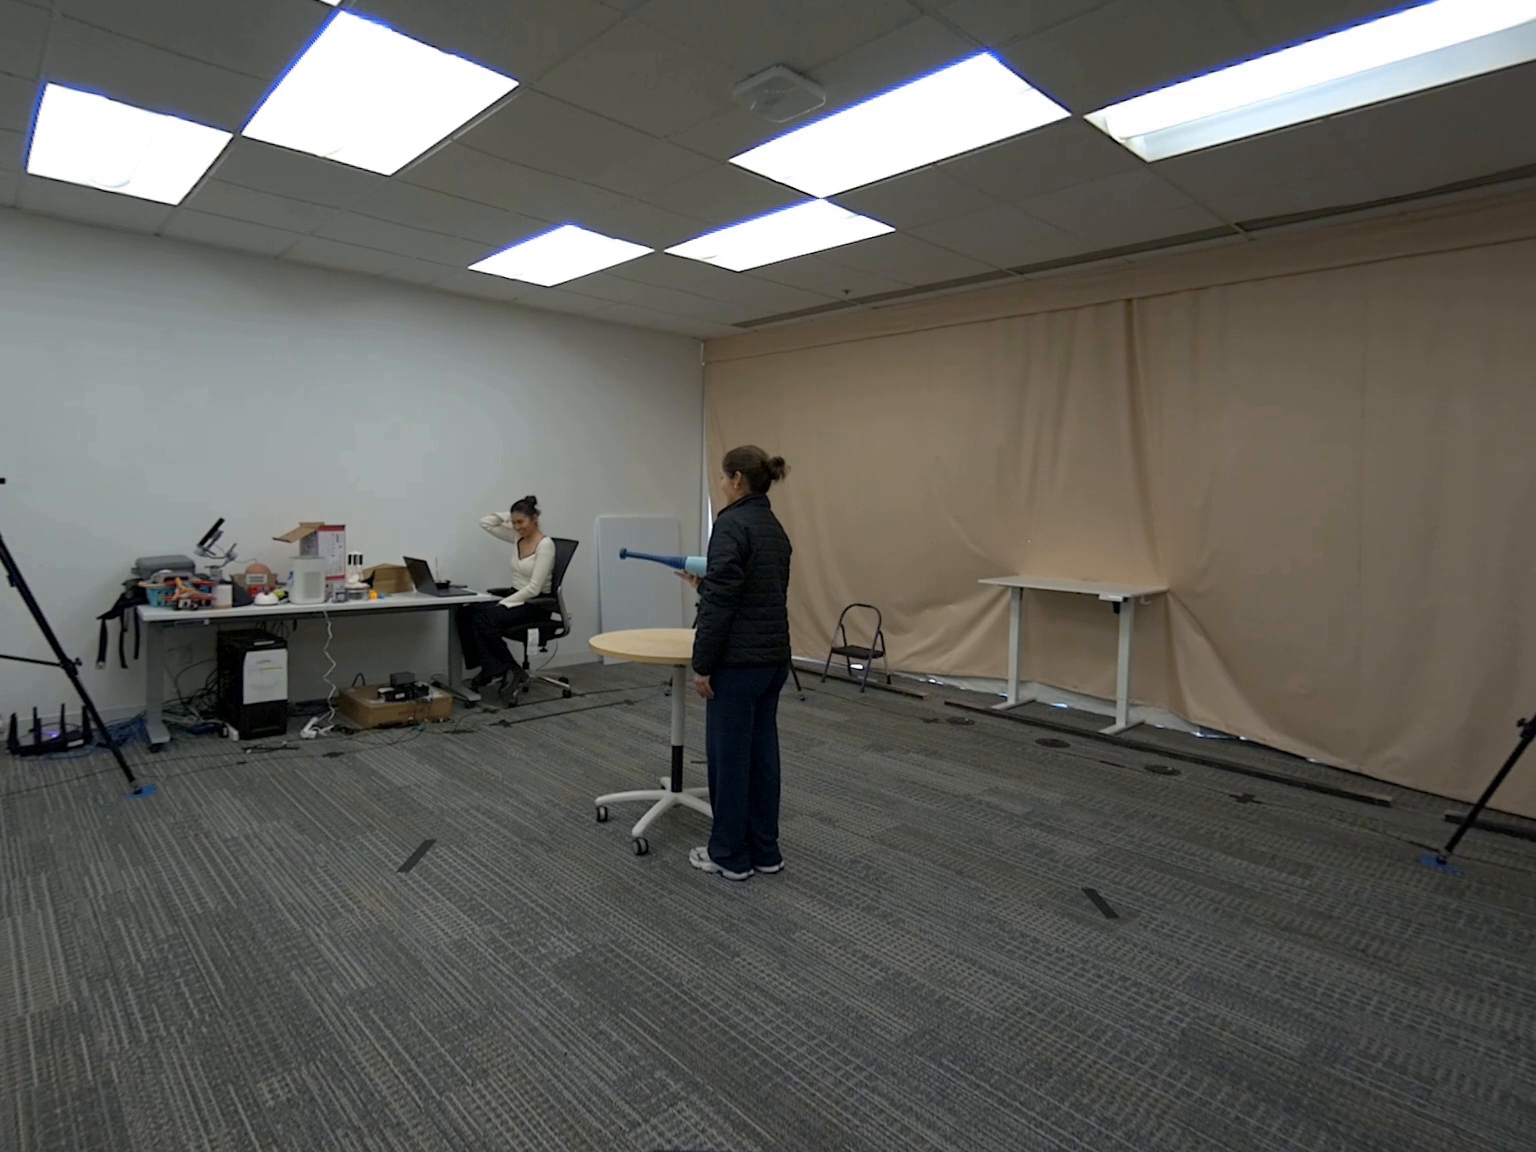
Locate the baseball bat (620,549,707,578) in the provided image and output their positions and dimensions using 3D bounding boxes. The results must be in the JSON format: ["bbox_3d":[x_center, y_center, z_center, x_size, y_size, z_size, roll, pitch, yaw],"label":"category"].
[{"bbox_3d":[-0.368,-0.046,3.472,0.547,0.089,0.088,9,5,8],"label":"baseball bat"}]
